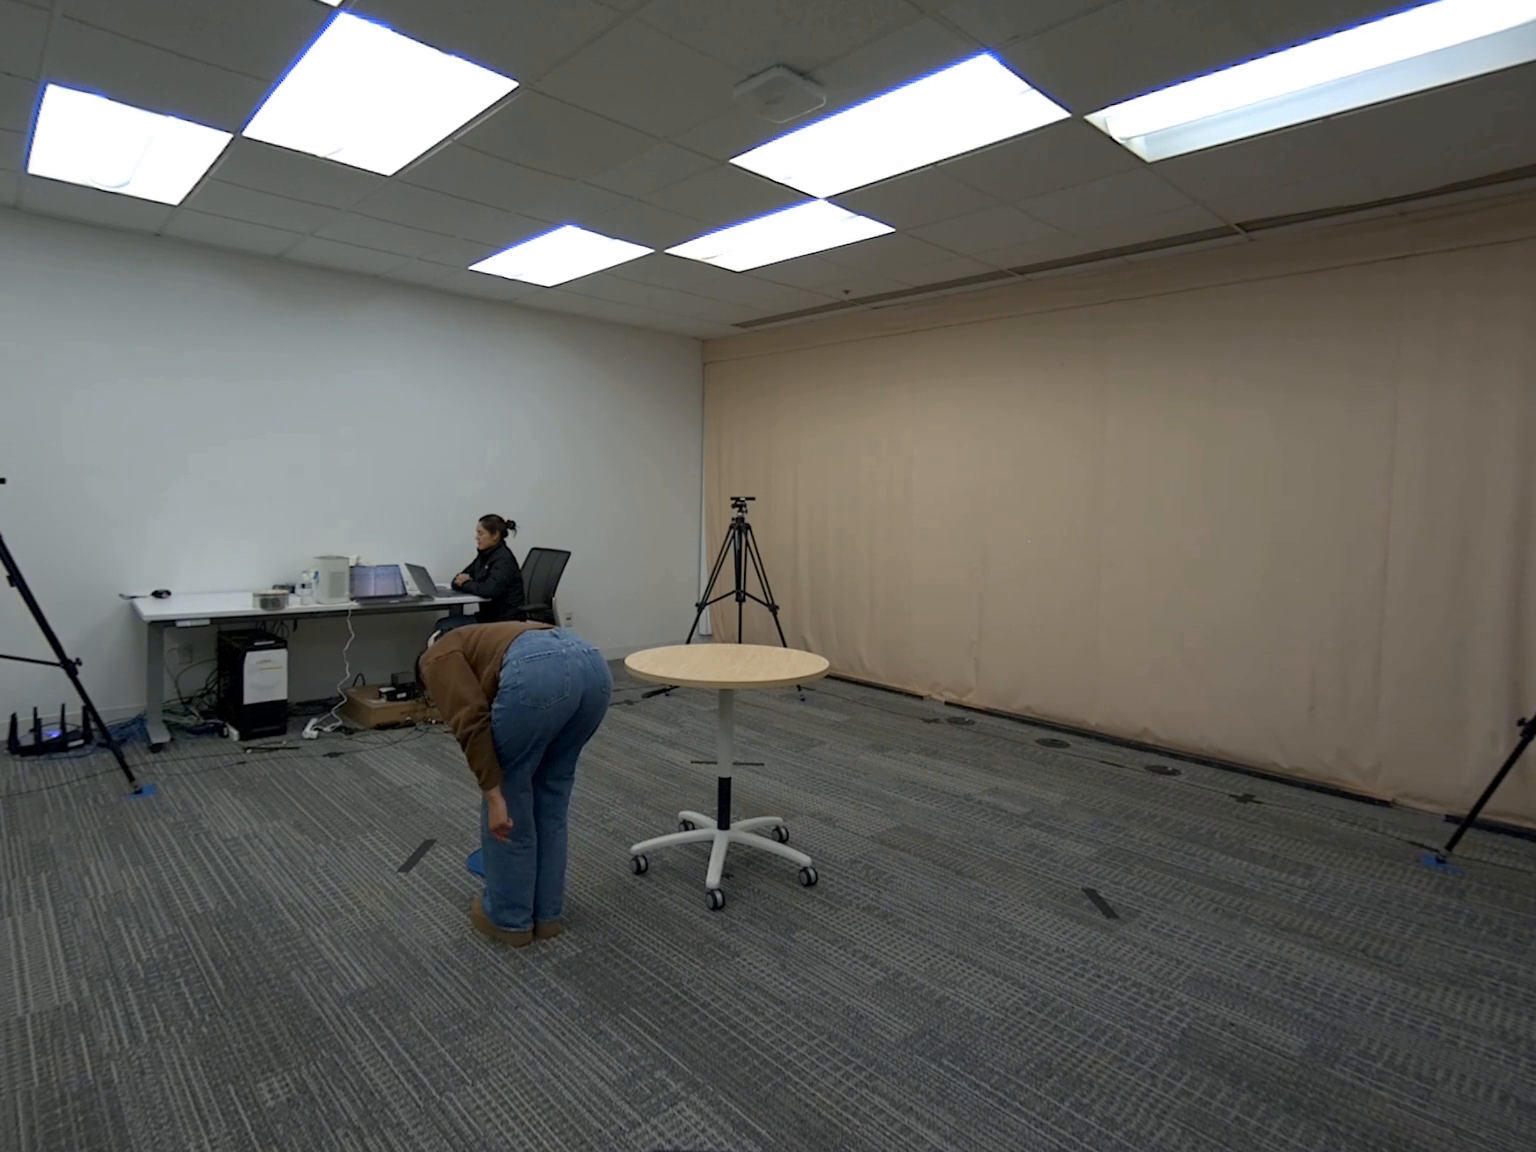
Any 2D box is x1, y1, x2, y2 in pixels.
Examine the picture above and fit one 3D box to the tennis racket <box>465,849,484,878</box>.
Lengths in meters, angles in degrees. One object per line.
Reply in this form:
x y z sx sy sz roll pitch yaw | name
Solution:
-1.020 1.083 3.095 0.212 0.032 0.438 0 5 -12 | tennis racket
